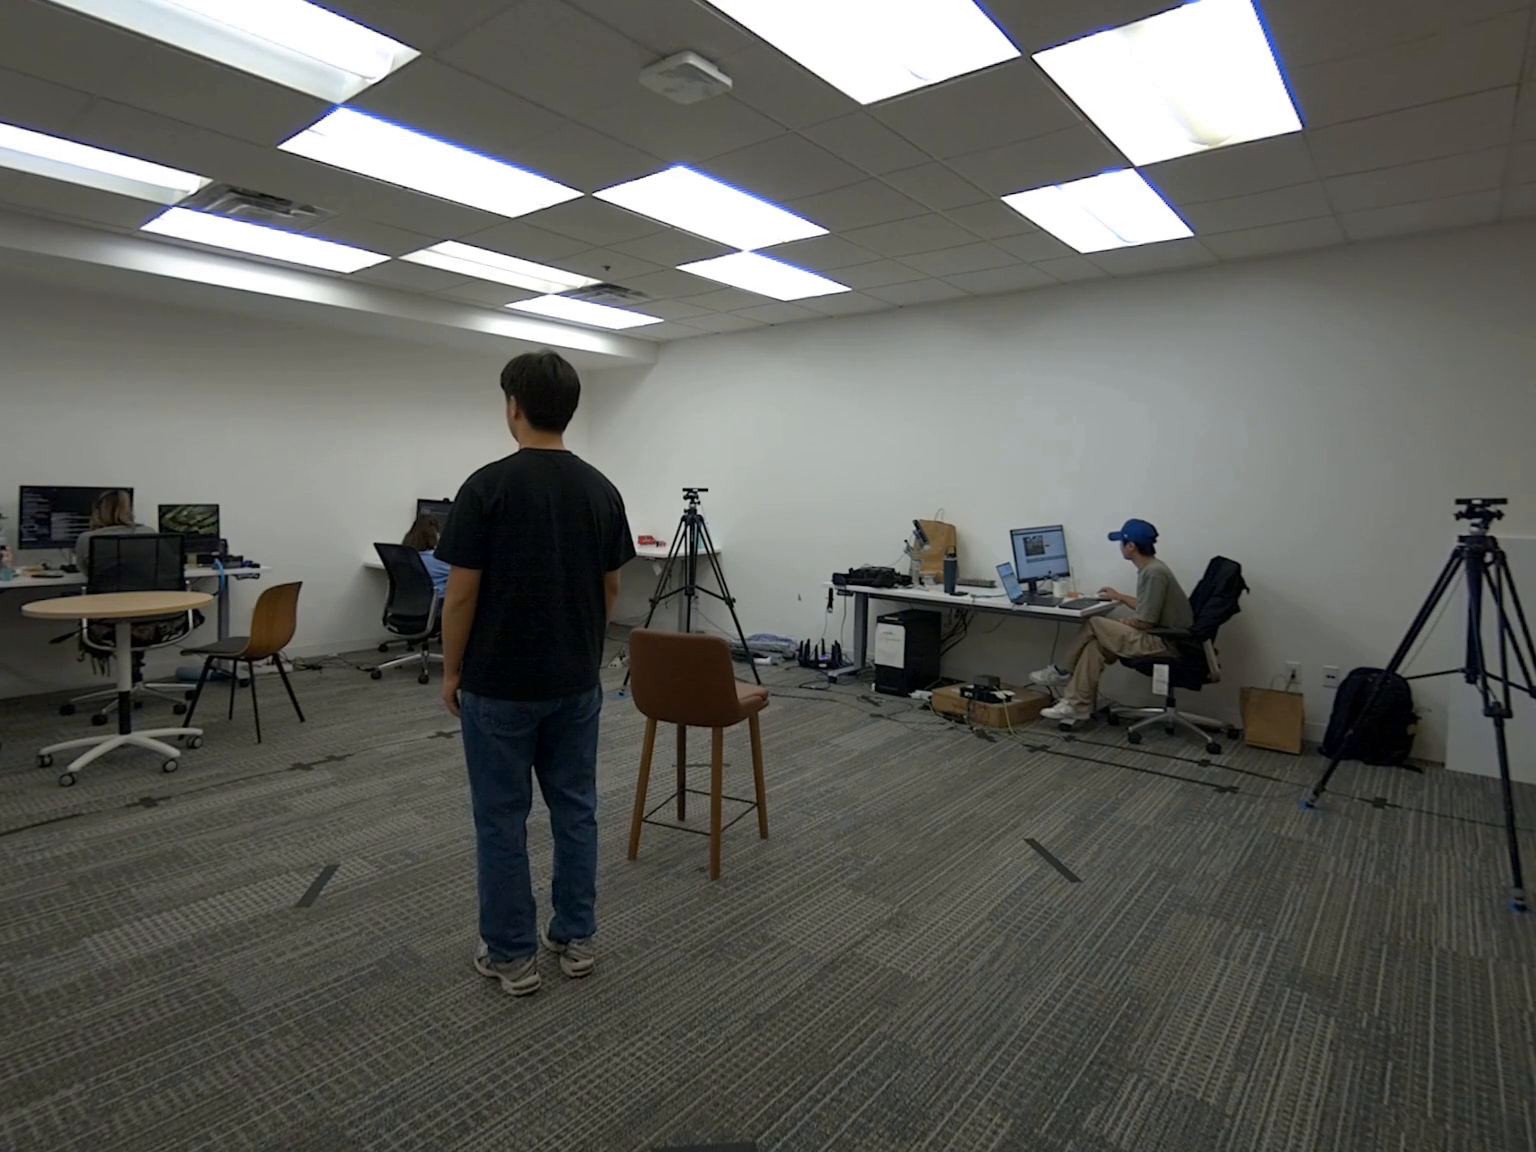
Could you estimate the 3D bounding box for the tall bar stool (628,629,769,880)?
[{"bbox_3d":[-0.276,0.615,3.279,0.468,0.886,0.458,2,5,25],"label":"tall bar stool"}]
